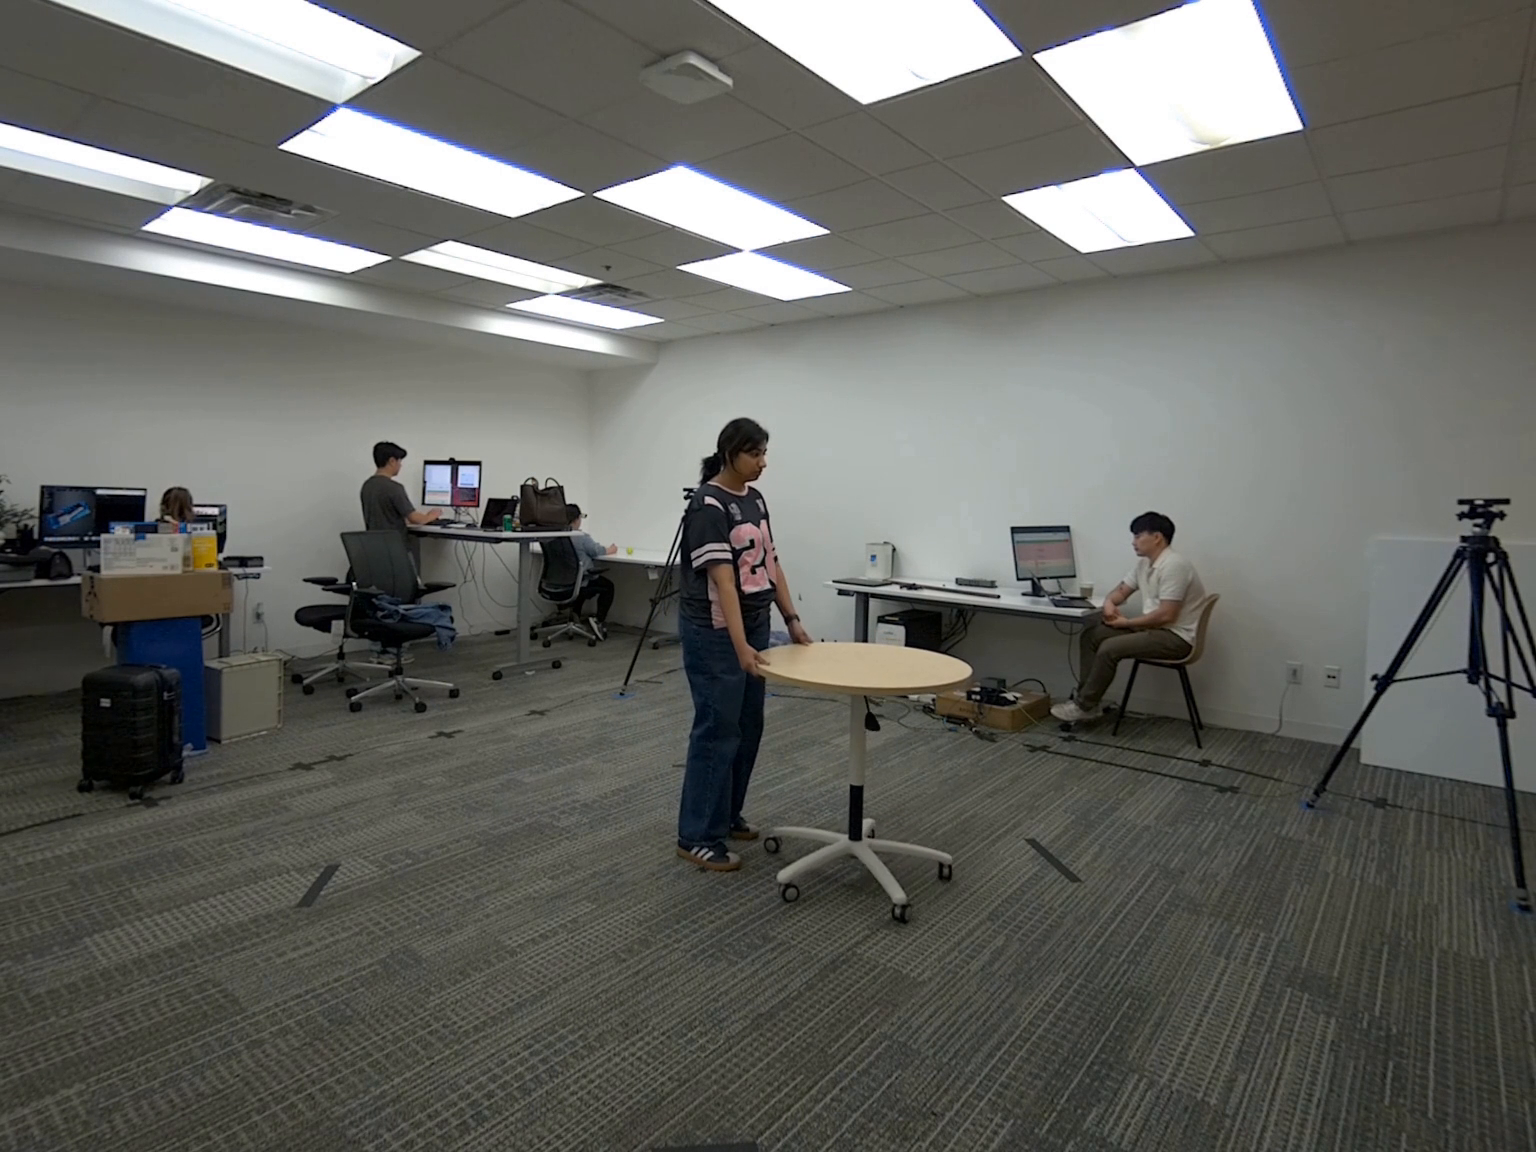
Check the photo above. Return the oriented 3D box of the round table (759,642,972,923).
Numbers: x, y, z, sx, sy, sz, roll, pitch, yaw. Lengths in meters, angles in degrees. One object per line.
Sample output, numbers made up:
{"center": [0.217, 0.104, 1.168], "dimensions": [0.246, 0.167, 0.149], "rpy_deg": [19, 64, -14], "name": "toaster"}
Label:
{"center": [0.302, 0.689, 3.066], "dimensions": [0.784, 0.783, 0.789], "rpy_deg": [1, 5, -2], "name": "round table"}
